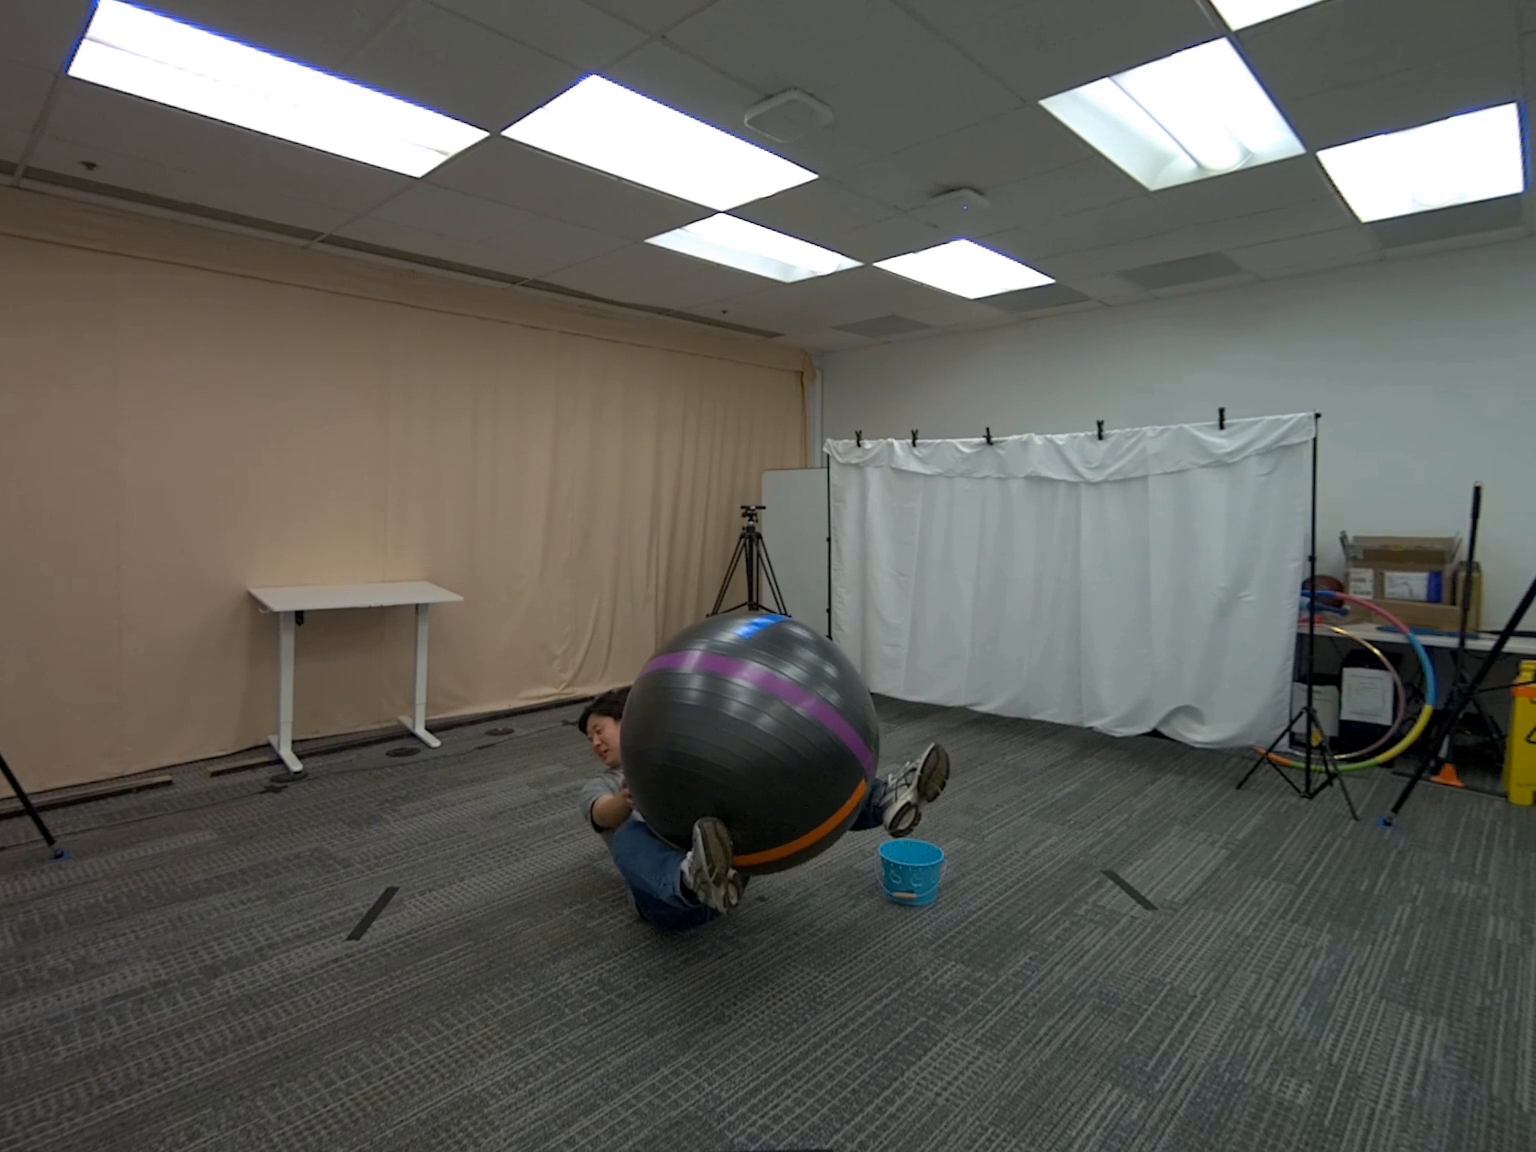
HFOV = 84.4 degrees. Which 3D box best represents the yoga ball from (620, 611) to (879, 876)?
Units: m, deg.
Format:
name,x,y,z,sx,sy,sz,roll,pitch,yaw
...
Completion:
name,x,y,z,sx,sy,sz,roll,pitch,yaw
yoga ball,-0.058,0.489,2.495,0.757,0.756,0.761,0,4,-2
